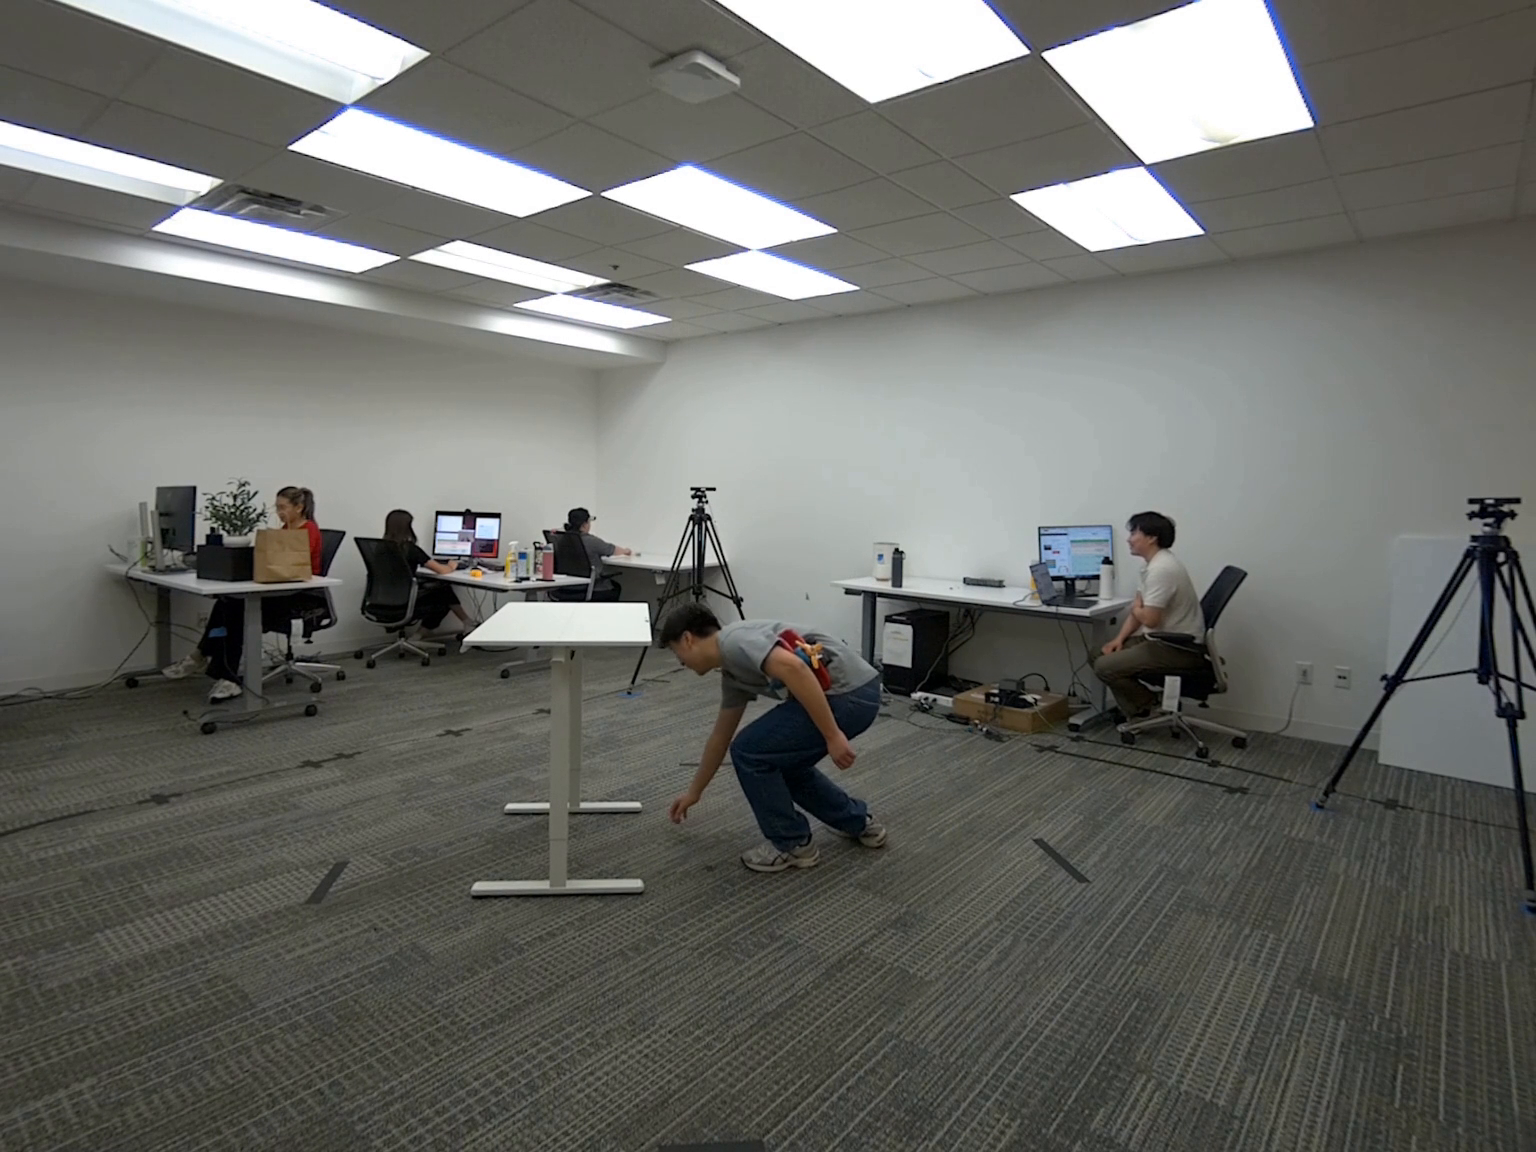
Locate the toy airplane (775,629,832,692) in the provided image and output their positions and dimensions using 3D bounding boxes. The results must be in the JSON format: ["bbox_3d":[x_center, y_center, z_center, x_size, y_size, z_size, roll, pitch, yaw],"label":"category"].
[{"bbox_3d":[0.089,0.338,3.046,0.260,0.257,0.152,25,14,28],"label":"toy airplane"}]
